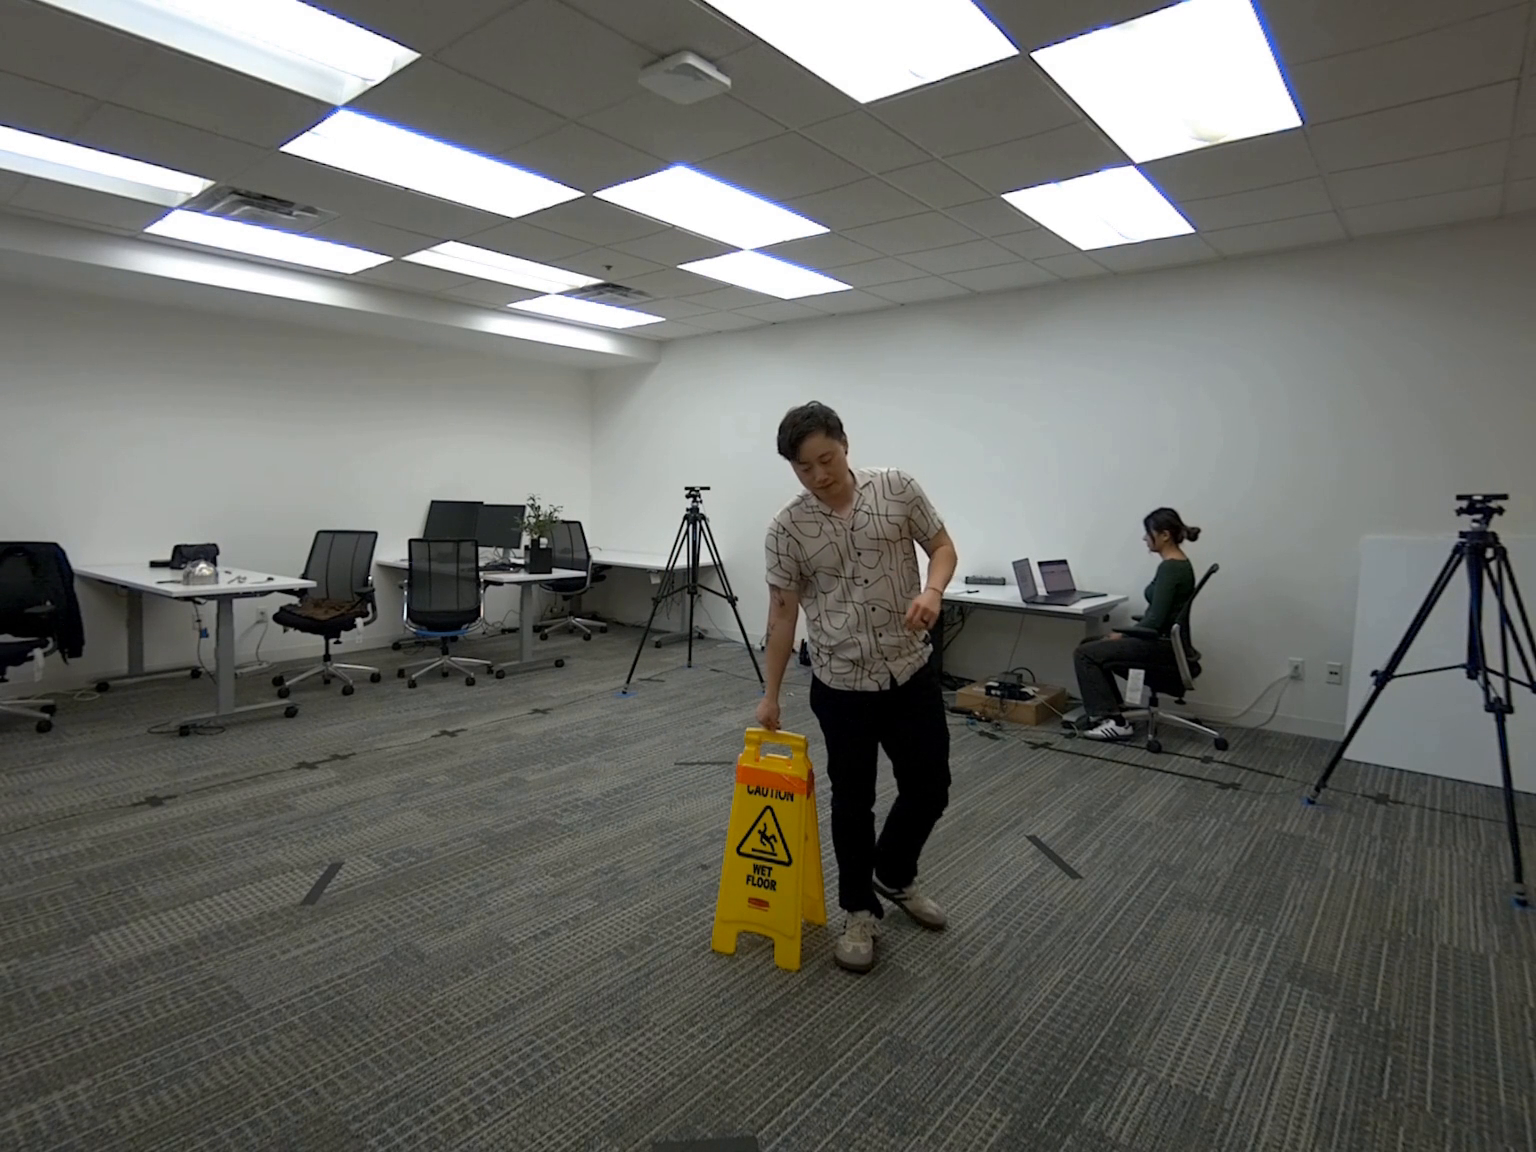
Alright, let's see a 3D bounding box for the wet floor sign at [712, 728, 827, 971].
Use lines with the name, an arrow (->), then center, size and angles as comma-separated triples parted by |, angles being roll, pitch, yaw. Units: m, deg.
wet floor sign -> 0.008, 0.794, 2.625 | 0.289, 0.644, 0.284 | 3, 3, 22
